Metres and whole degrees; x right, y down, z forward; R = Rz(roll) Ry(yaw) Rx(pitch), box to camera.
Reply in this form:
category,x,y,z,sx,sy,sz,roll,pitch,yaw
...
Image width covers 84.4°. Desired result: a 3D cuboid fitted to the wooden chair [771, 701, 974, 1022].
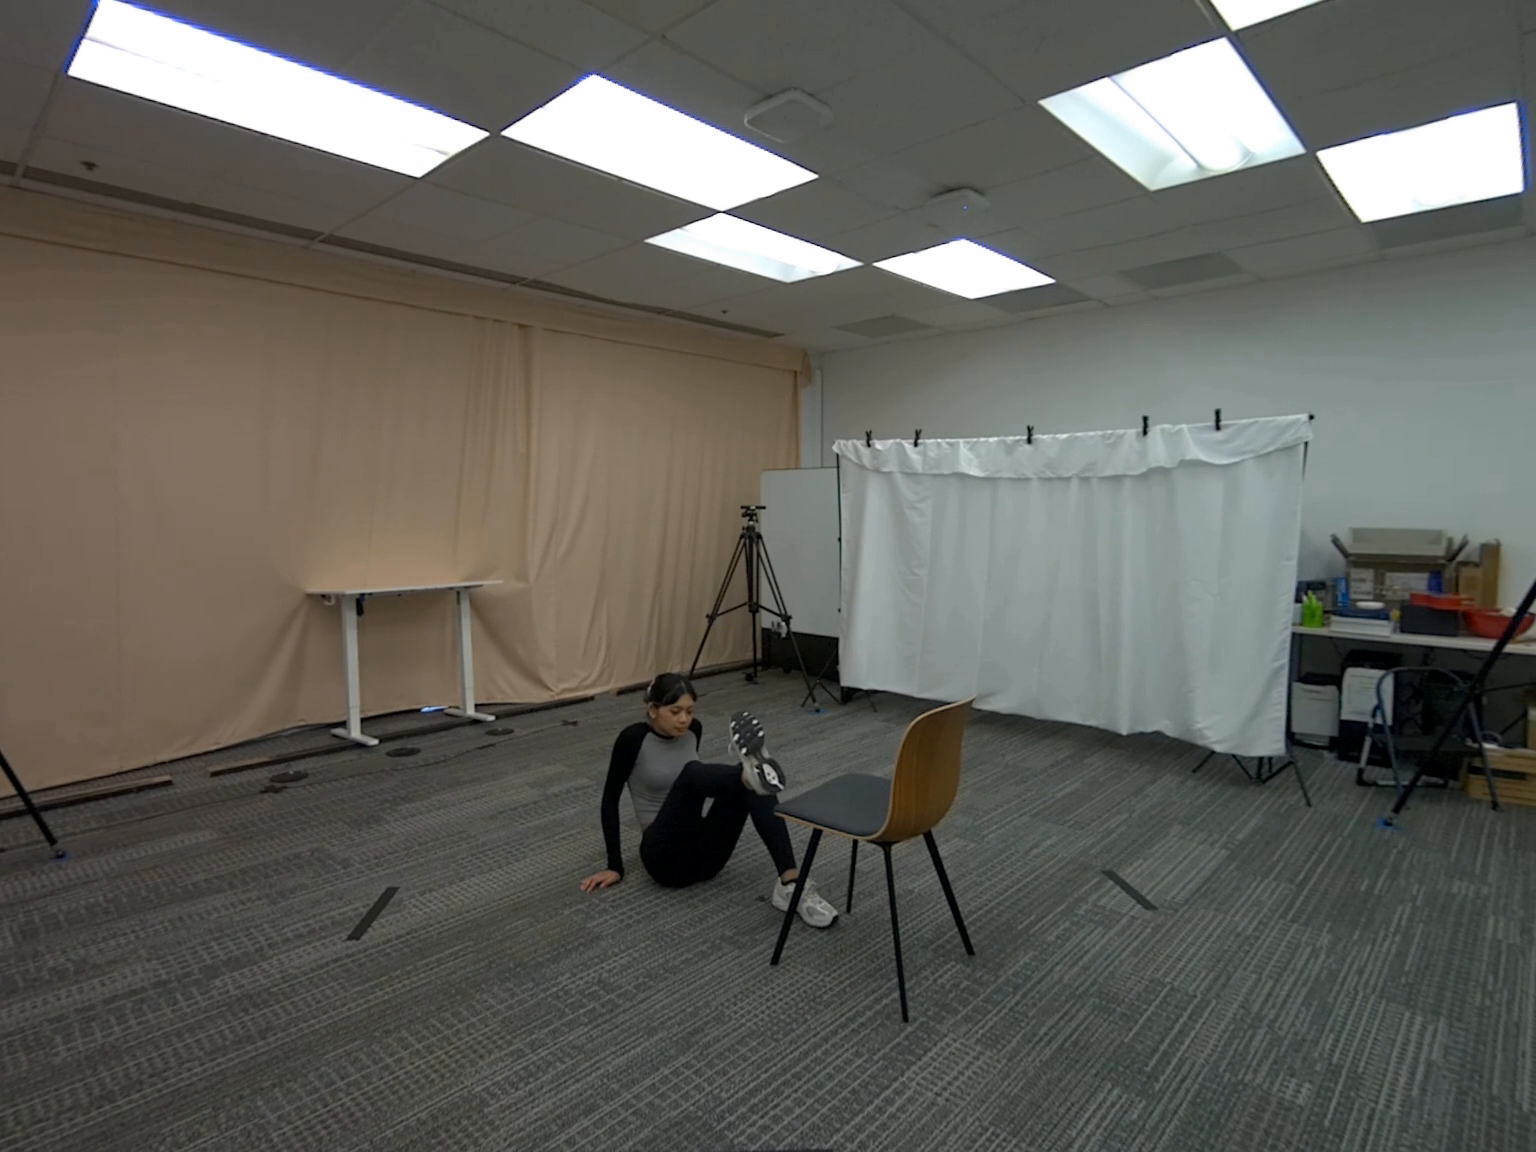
category,x,y,z,sx,sy,sz,roll,pitch,yaw
wooden chair,0.321,0.749,2.555,0.541,0.874,0.464,8,8,38
